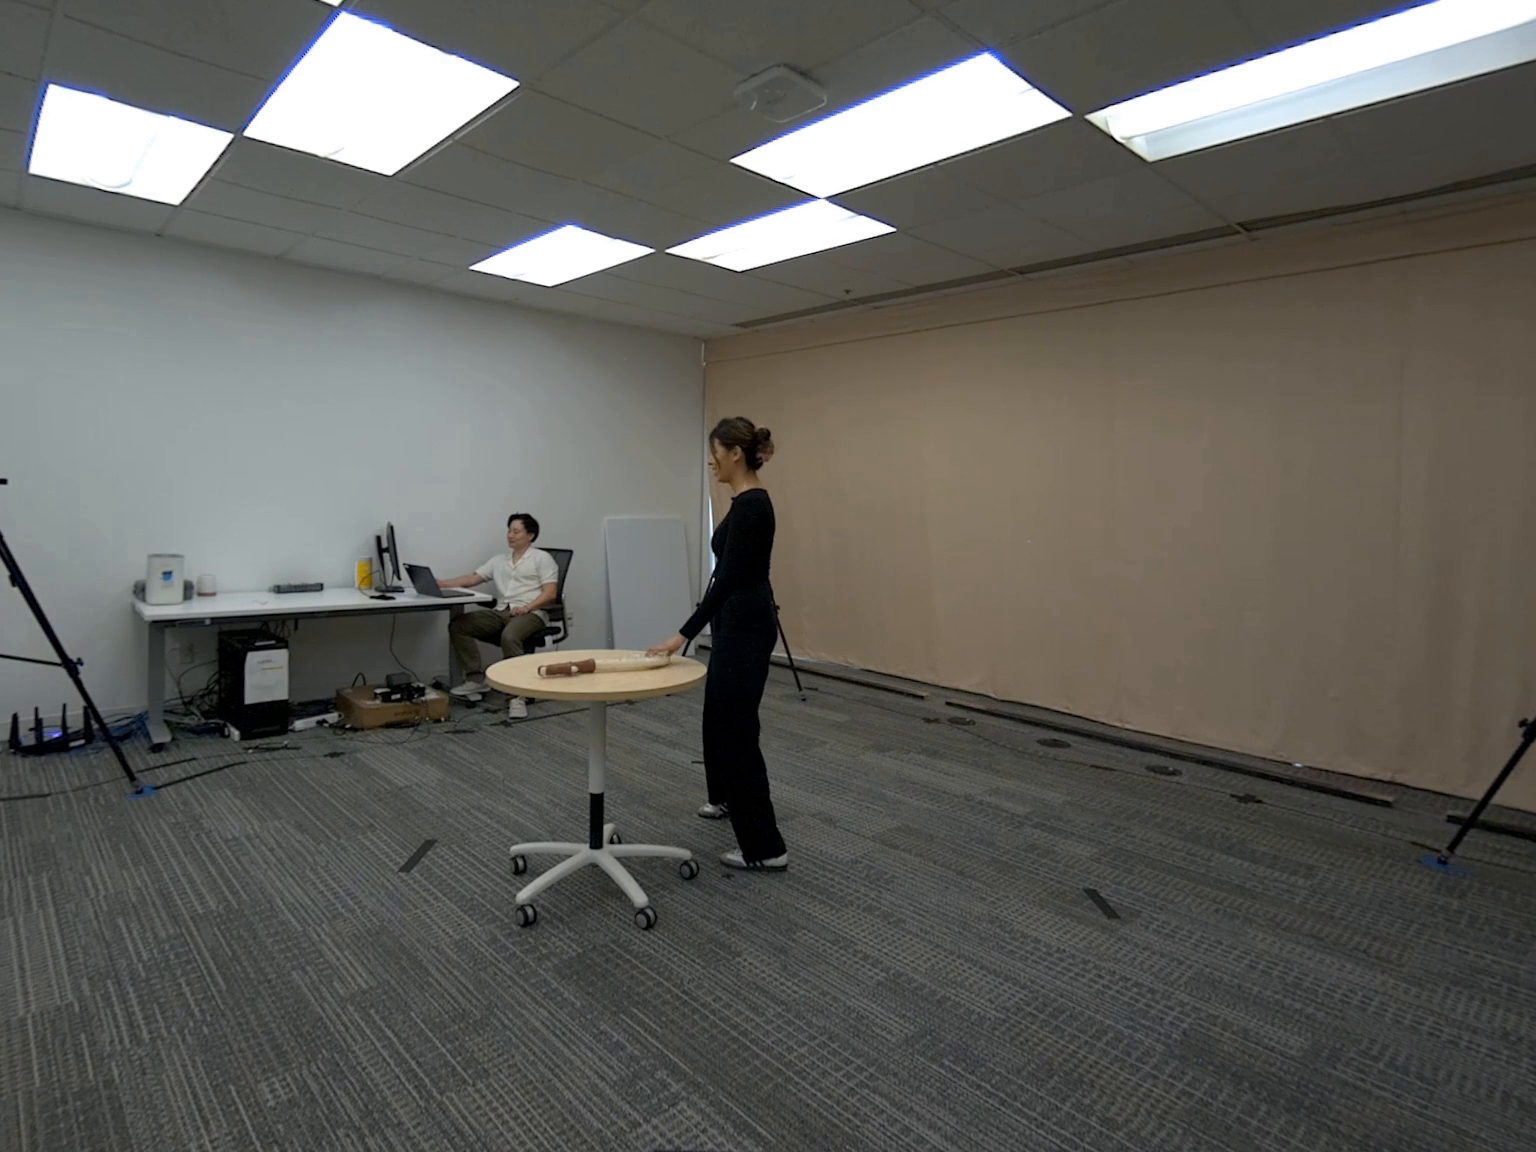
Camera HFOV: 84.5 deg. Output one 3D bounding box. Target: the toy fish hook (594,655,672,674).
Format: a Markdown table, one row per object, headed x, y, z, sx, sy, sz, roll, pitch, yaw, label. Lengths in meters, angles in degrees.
| x | y | z | sx | sy | sz | roll | pitch | yaw | label |
| --- | --- | --- | --- | --- | --- | --- | --- | --- | --- |
| -0.601 | 0.313 | 2.958 | 0.495 | 0.048 | 0.229 | -1 | -1 | -36 | toy fish hook |
